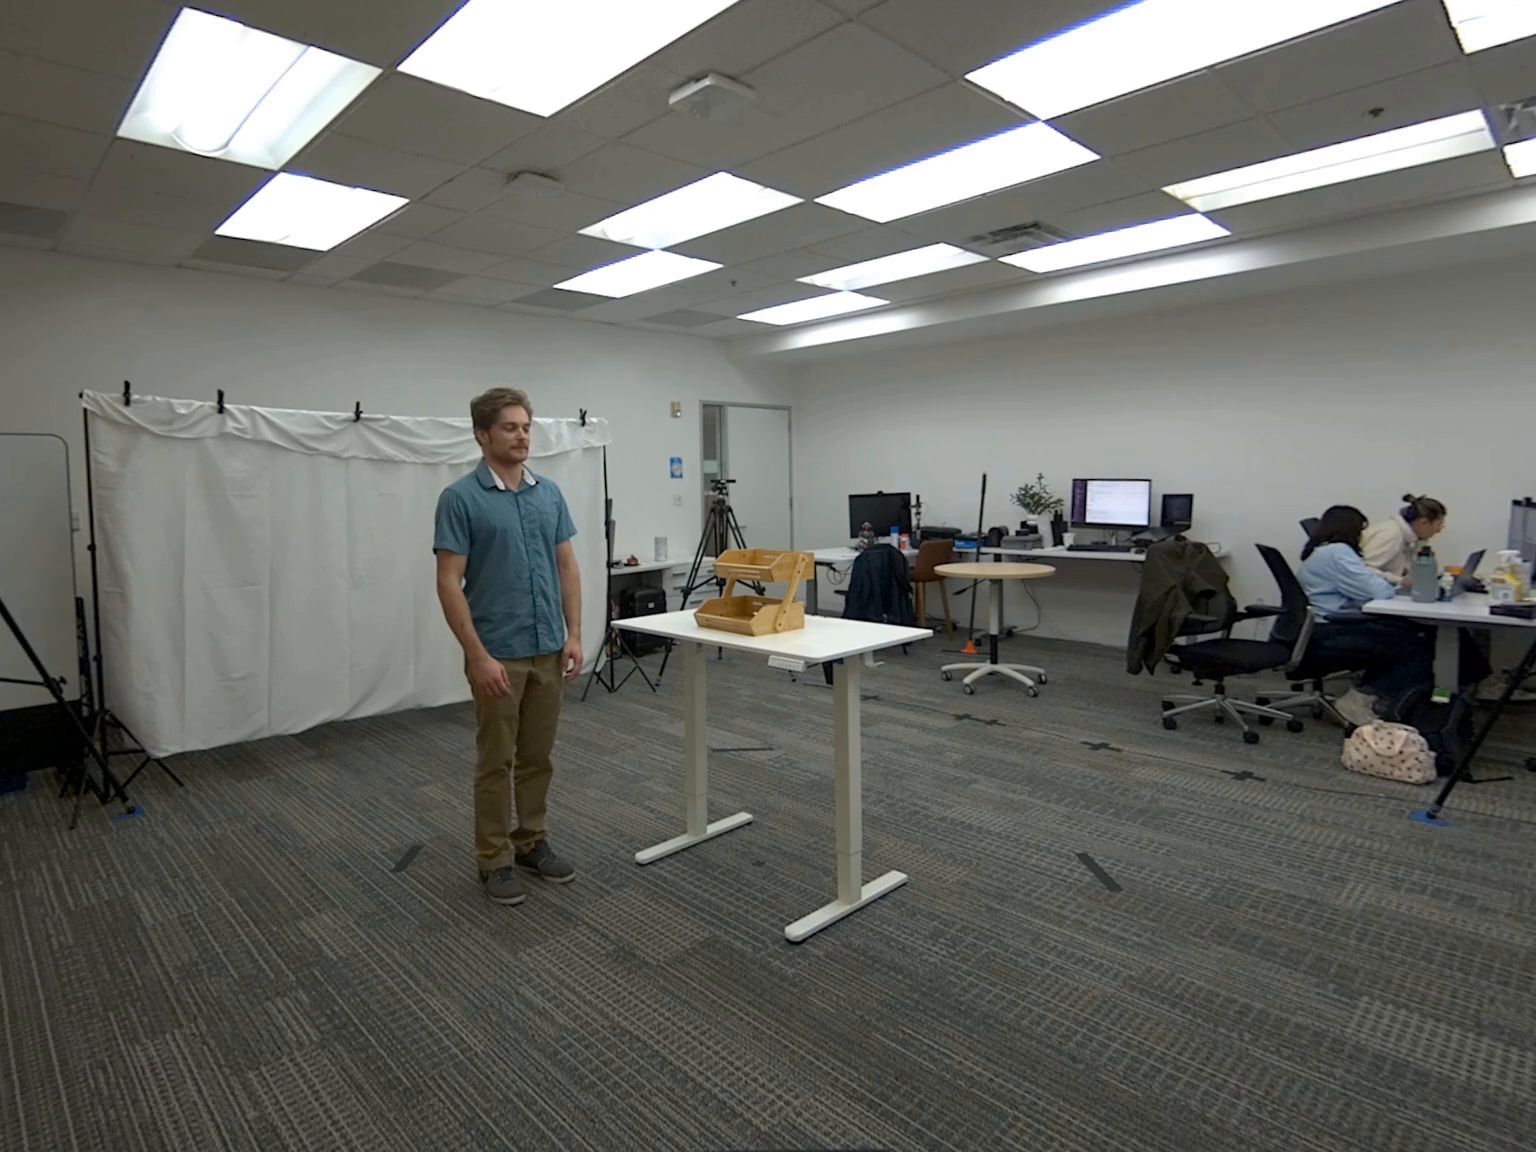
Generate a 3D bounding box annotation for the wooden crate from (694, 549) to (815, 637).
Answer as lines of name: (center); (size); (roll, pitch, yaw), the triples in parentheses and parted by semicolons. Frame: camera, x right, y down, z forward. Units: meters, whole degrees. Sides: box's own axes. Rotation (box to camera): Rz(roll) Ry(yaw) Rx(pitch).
wooden crate: (-0.052, 0.045, 2.982); (0.294, 0.272, 0.334); (-4, 6, -42)
